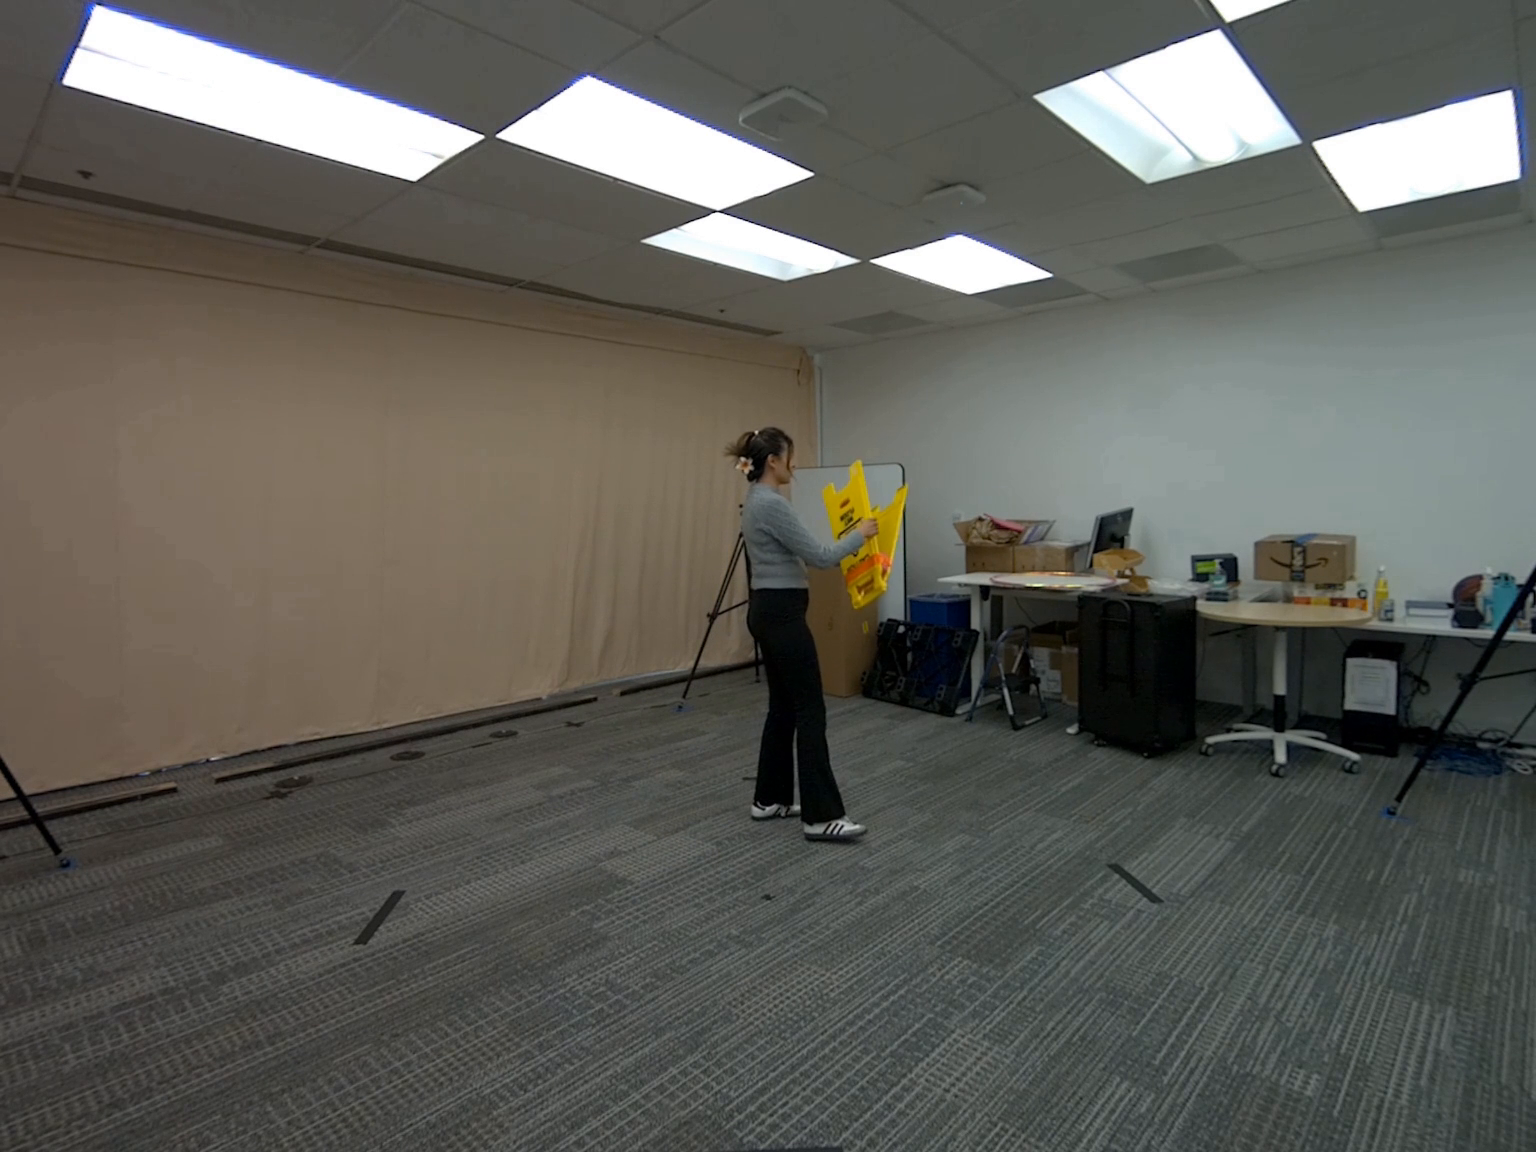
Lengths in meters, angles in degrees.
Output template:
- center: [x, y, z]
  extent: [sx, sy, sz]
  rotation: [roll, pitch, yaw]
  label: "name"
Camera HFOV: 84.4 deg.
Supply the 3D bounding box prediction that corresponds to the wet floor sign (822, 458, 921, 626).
- center: [0.450, -0.161, 3.823]
  extent: [0.282, 0.656, 0.285]
  rotation: [22, -41, -25]
  label: "wet floor sign"
